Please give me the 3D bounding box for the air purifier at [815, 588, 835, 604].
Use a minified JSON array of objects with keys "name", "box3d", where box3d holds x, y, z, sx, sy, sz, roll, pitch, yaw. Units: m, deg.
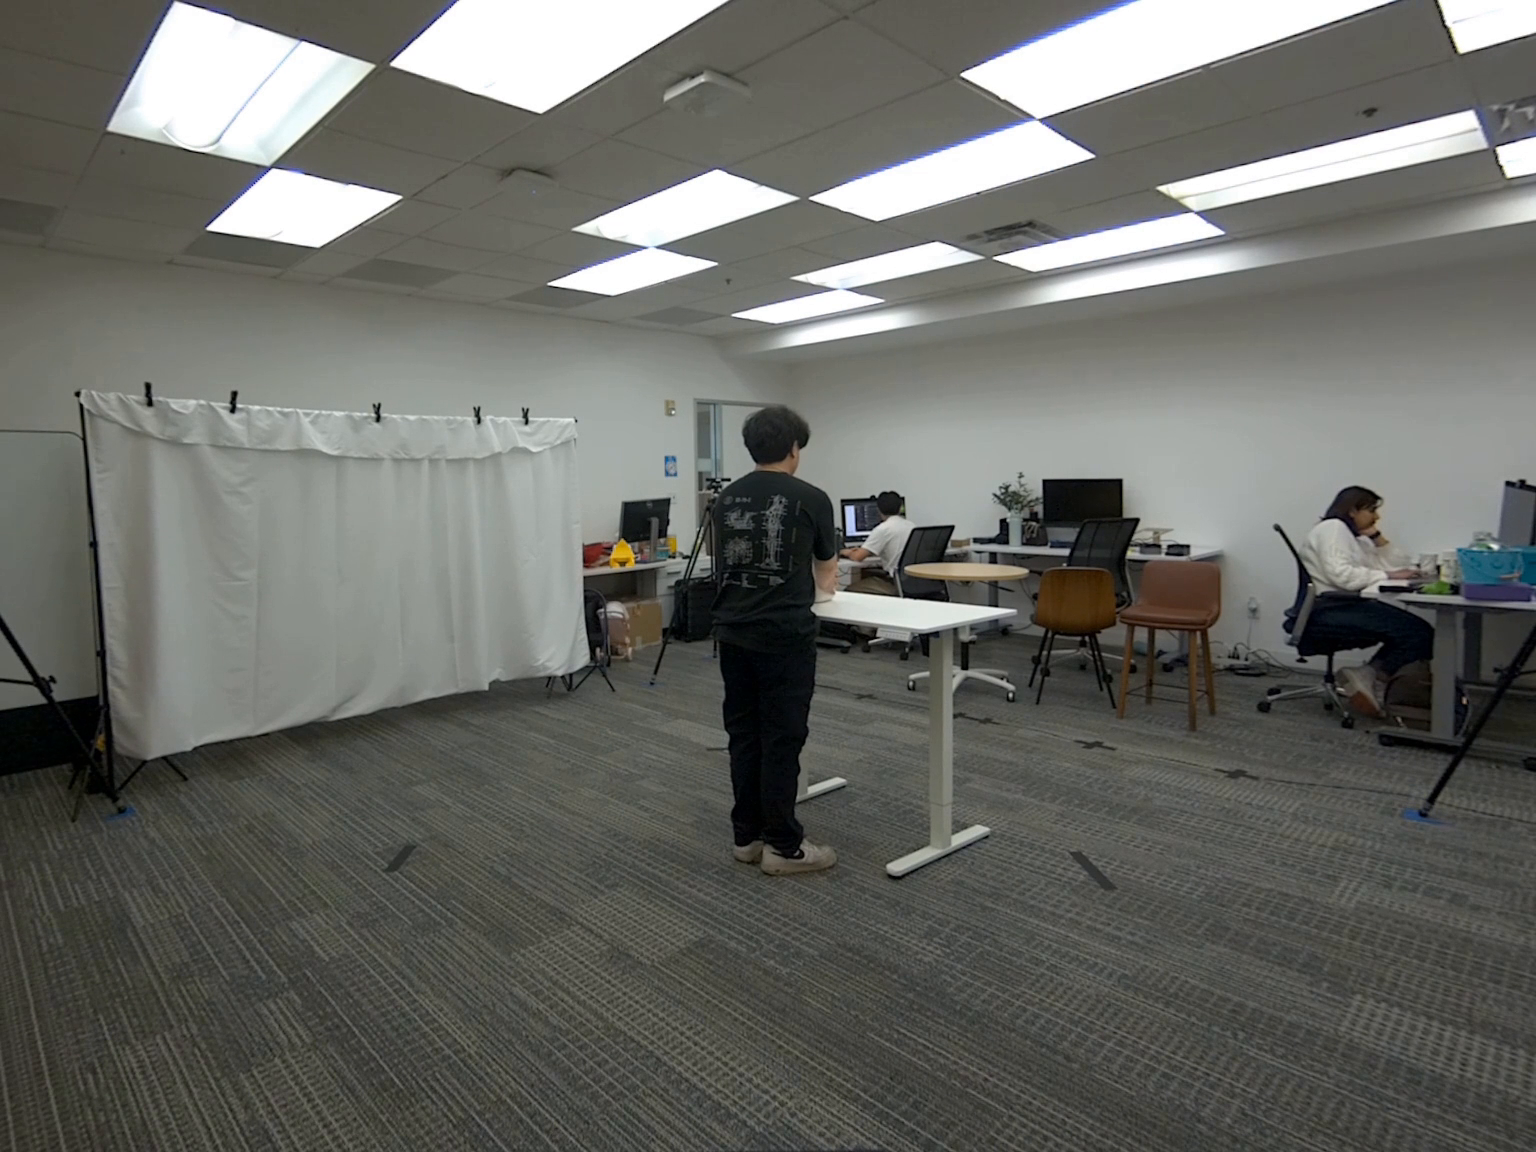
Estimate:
[{"name":"air purifier","box3d":[0.191,-0.029,3.576,0.176,0.265,0.167,1,4,36]}]
